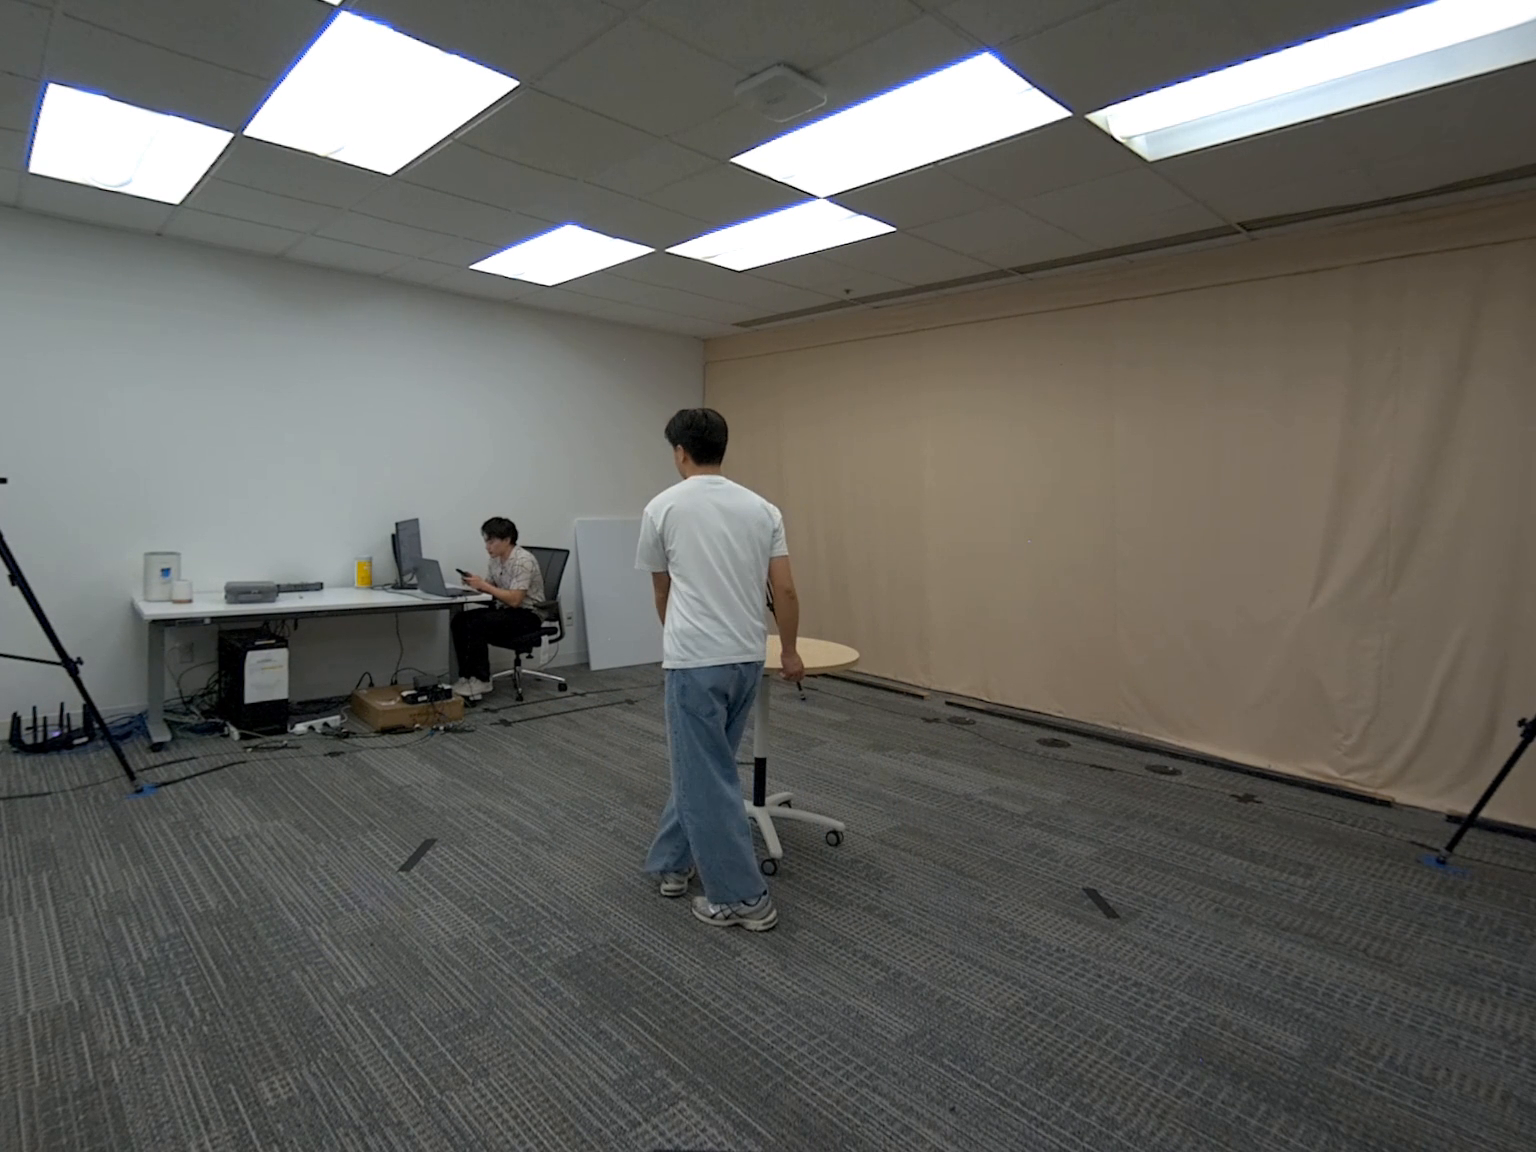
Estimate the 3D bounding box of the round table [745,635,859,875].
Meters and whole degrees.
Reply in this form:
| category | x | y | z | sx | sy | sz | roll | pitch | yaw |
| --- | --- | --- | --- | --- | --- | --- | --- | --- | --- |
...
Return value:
| category | x | y | z | sx | sy | sz | roll | pitch | yaw |
| --- | --- | --- | --- | --- | --- | --- | --- | --- | --- |
| round table | -0.036 | 0.693 | 3.432 | 0.763 | 0.792 | 0.766 | 2 | 4 | -1 |
